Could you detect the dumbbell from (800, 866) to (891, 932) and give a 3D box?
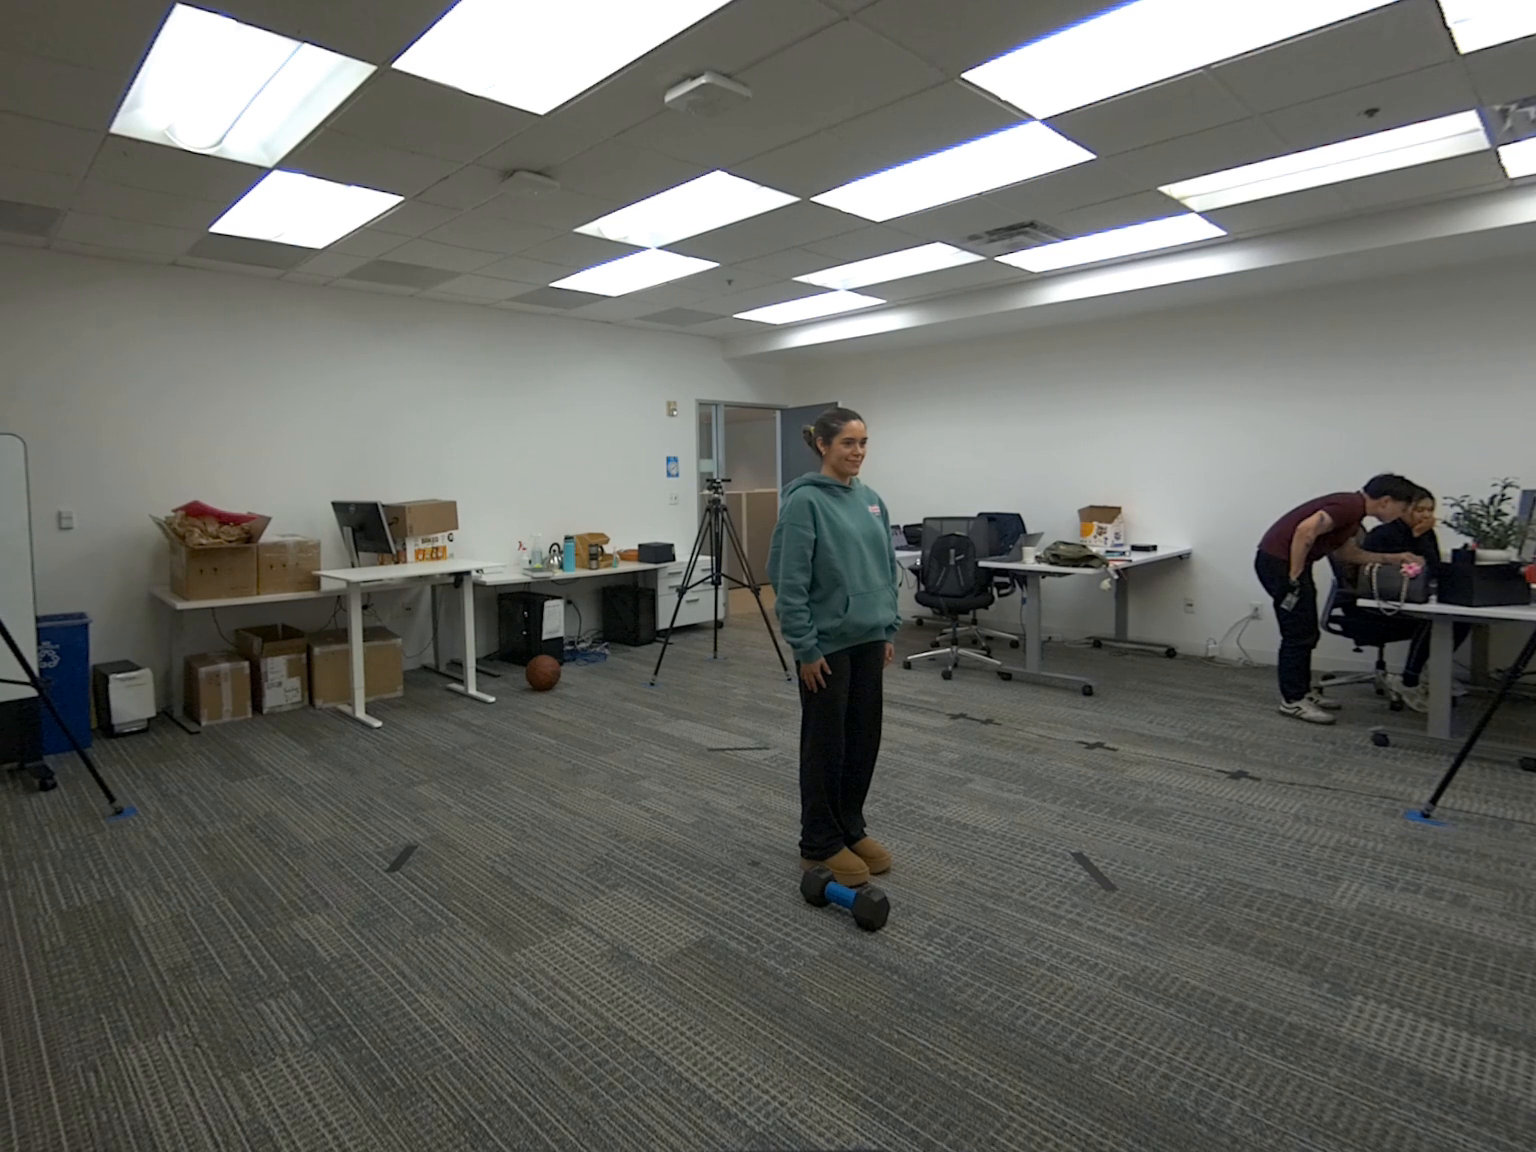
[{"bbox_3d":[0.245,1.031,2.735,0.303,0.119,0.108,5,39,45],"label":"dumbbell"}]
